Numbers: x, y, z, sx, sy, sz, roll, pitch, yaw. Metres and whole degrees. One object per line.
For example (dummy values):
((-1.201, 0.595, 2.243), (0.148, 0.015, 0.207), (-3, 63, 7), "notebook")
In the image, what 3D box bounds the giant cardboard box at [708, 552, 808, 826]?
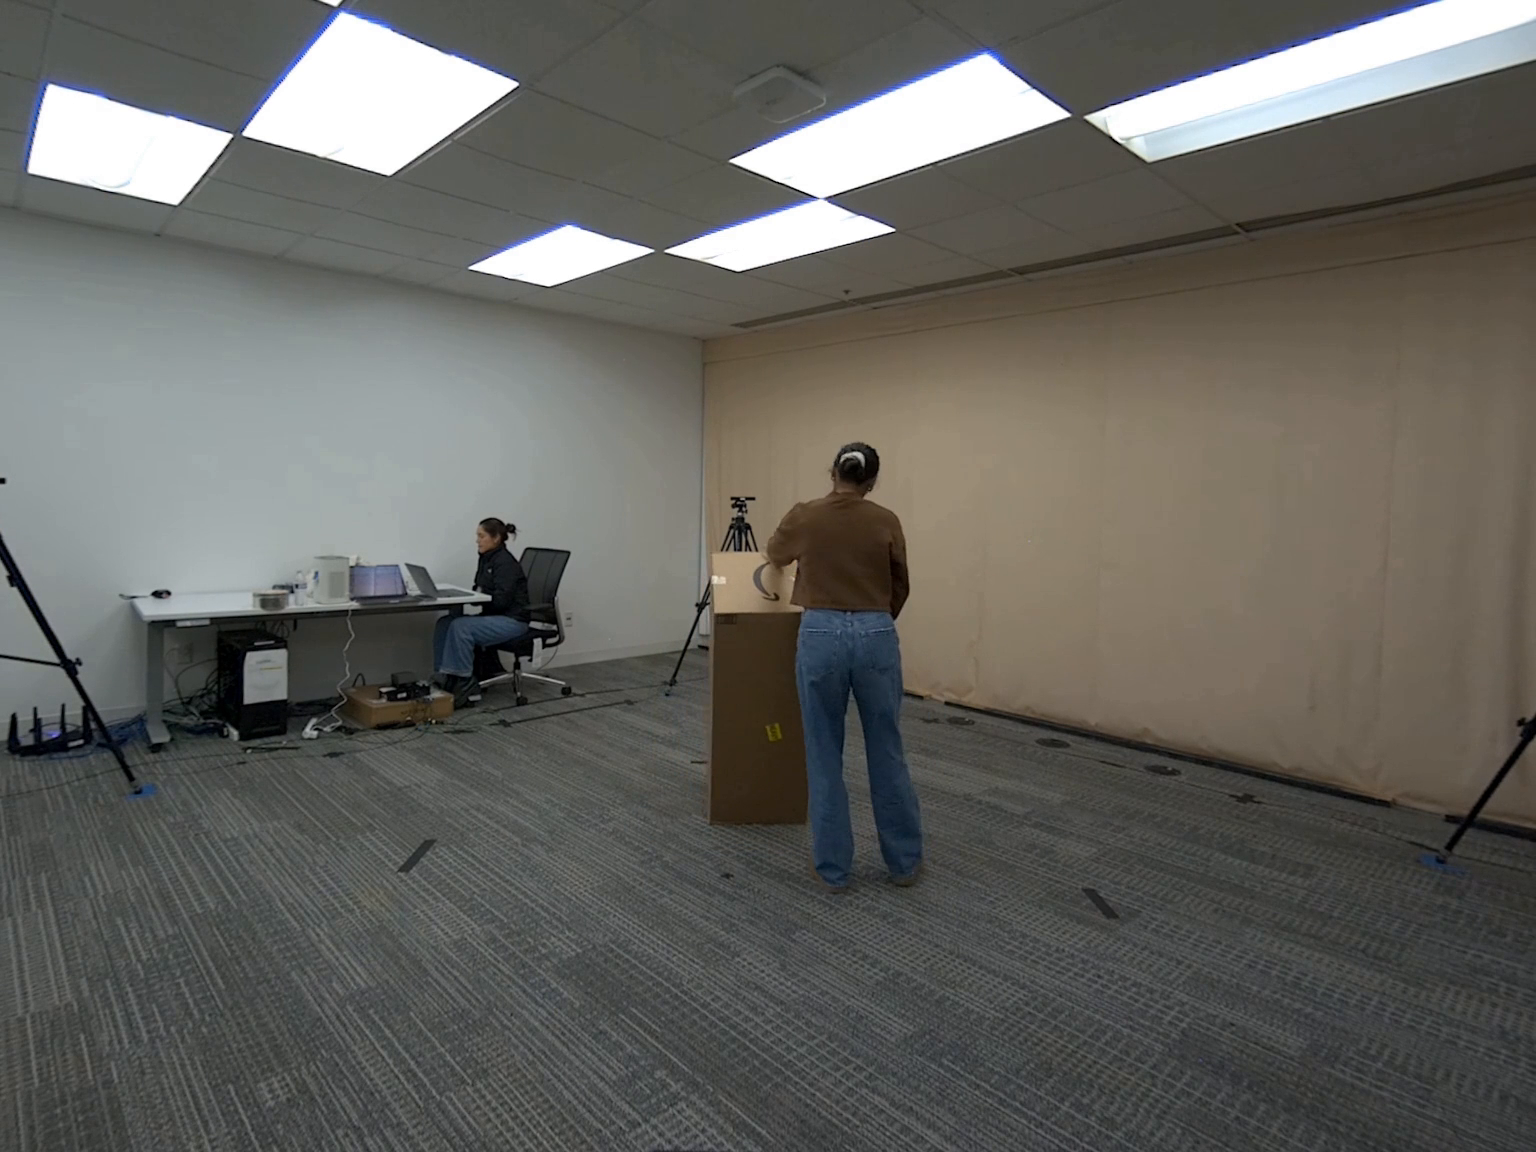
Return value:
((-0.044, 0.485, 3.679), (0.445, 1.011, 0.595), (0, 24, -5), "giant cardboard box")
